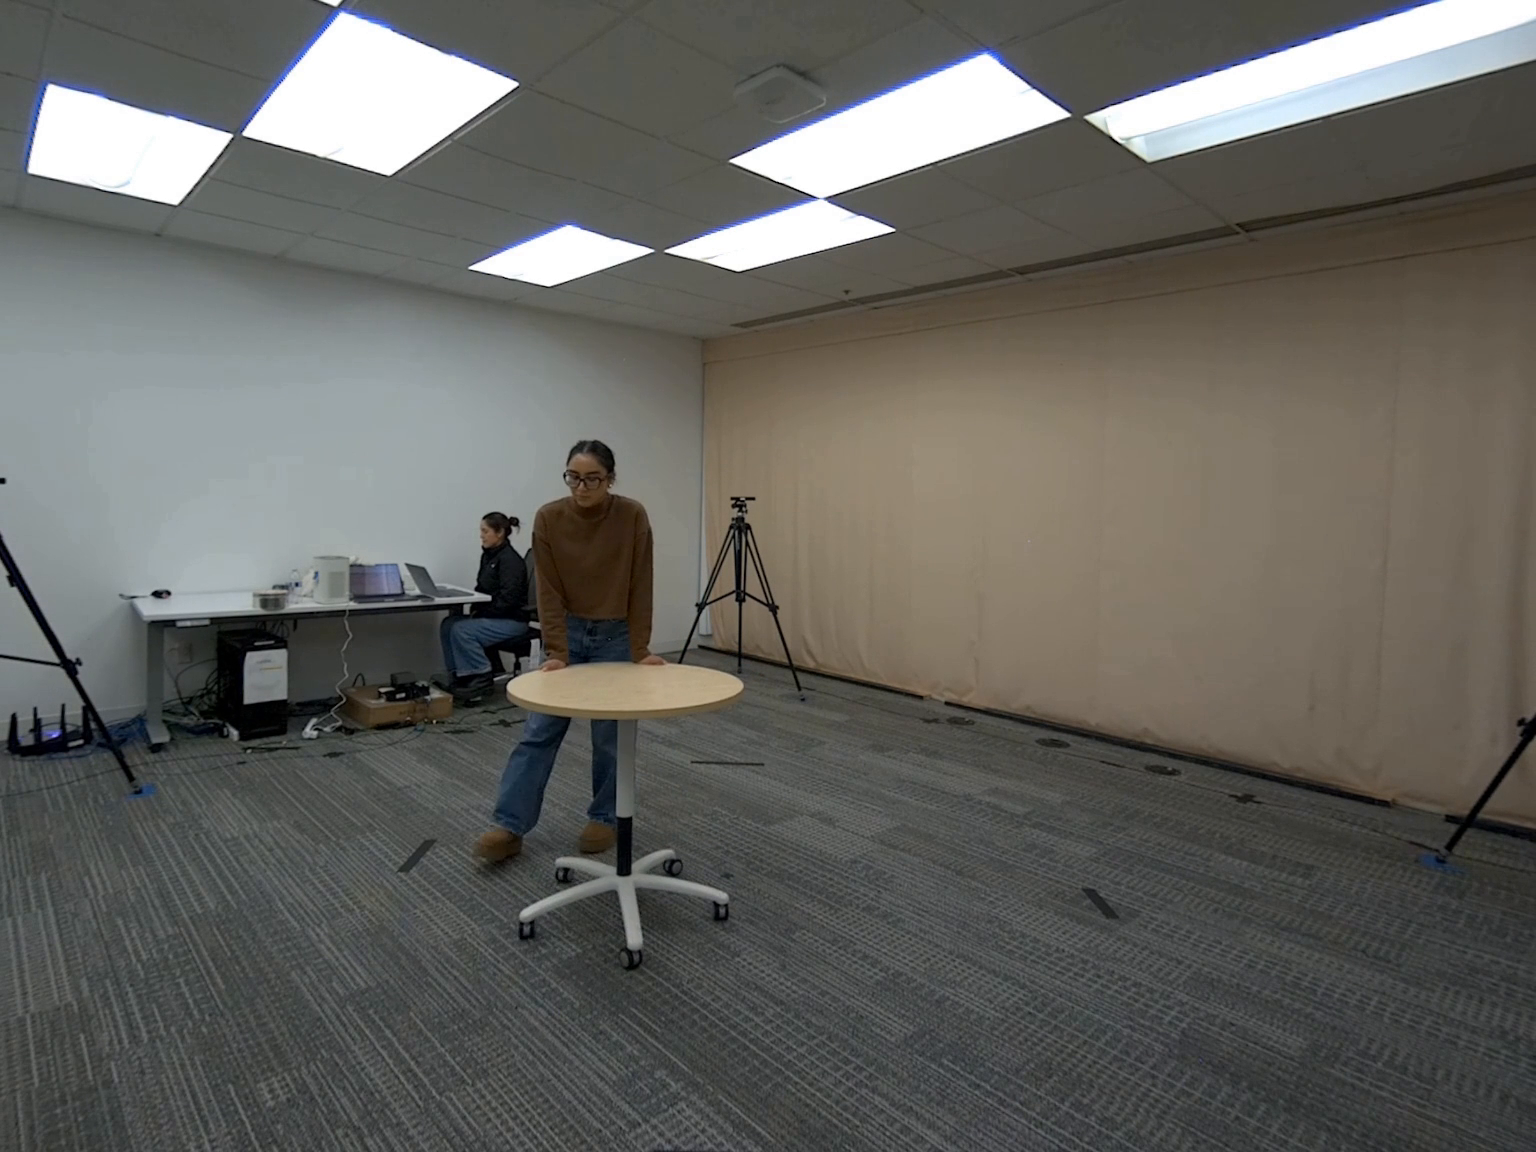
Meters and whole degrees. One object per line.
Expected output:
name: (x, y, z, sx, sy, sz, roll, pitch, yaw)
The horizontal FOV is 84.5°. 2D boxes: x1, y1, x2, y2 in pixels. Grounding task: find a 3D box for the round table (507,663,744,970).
round table: (-0.479, 0.742, 2.780, 0.763, 0.792, 0.766, 1, 4, -1)
